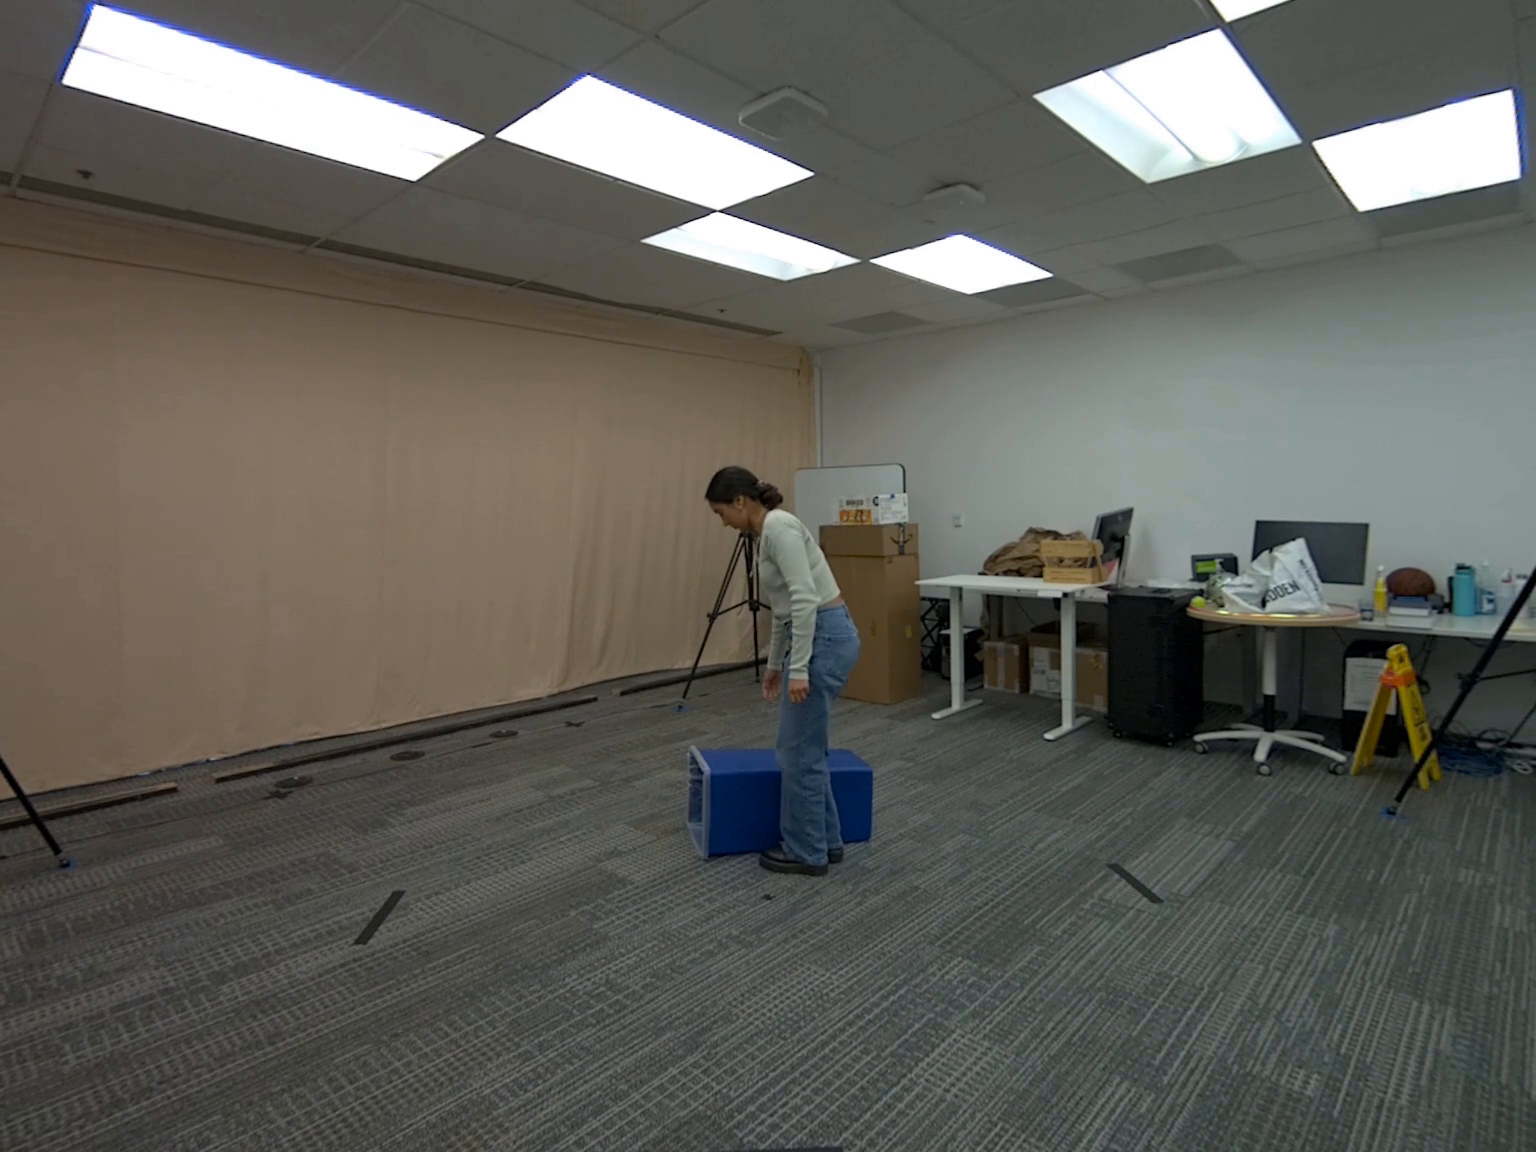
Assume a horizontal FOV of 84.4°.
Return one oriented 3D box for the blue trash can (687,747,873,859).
[{"bbox_3d":[0.044,0.915,3.518,0.705,0.377,0.379,0,3,-12],"label":"blue trash can"}]
